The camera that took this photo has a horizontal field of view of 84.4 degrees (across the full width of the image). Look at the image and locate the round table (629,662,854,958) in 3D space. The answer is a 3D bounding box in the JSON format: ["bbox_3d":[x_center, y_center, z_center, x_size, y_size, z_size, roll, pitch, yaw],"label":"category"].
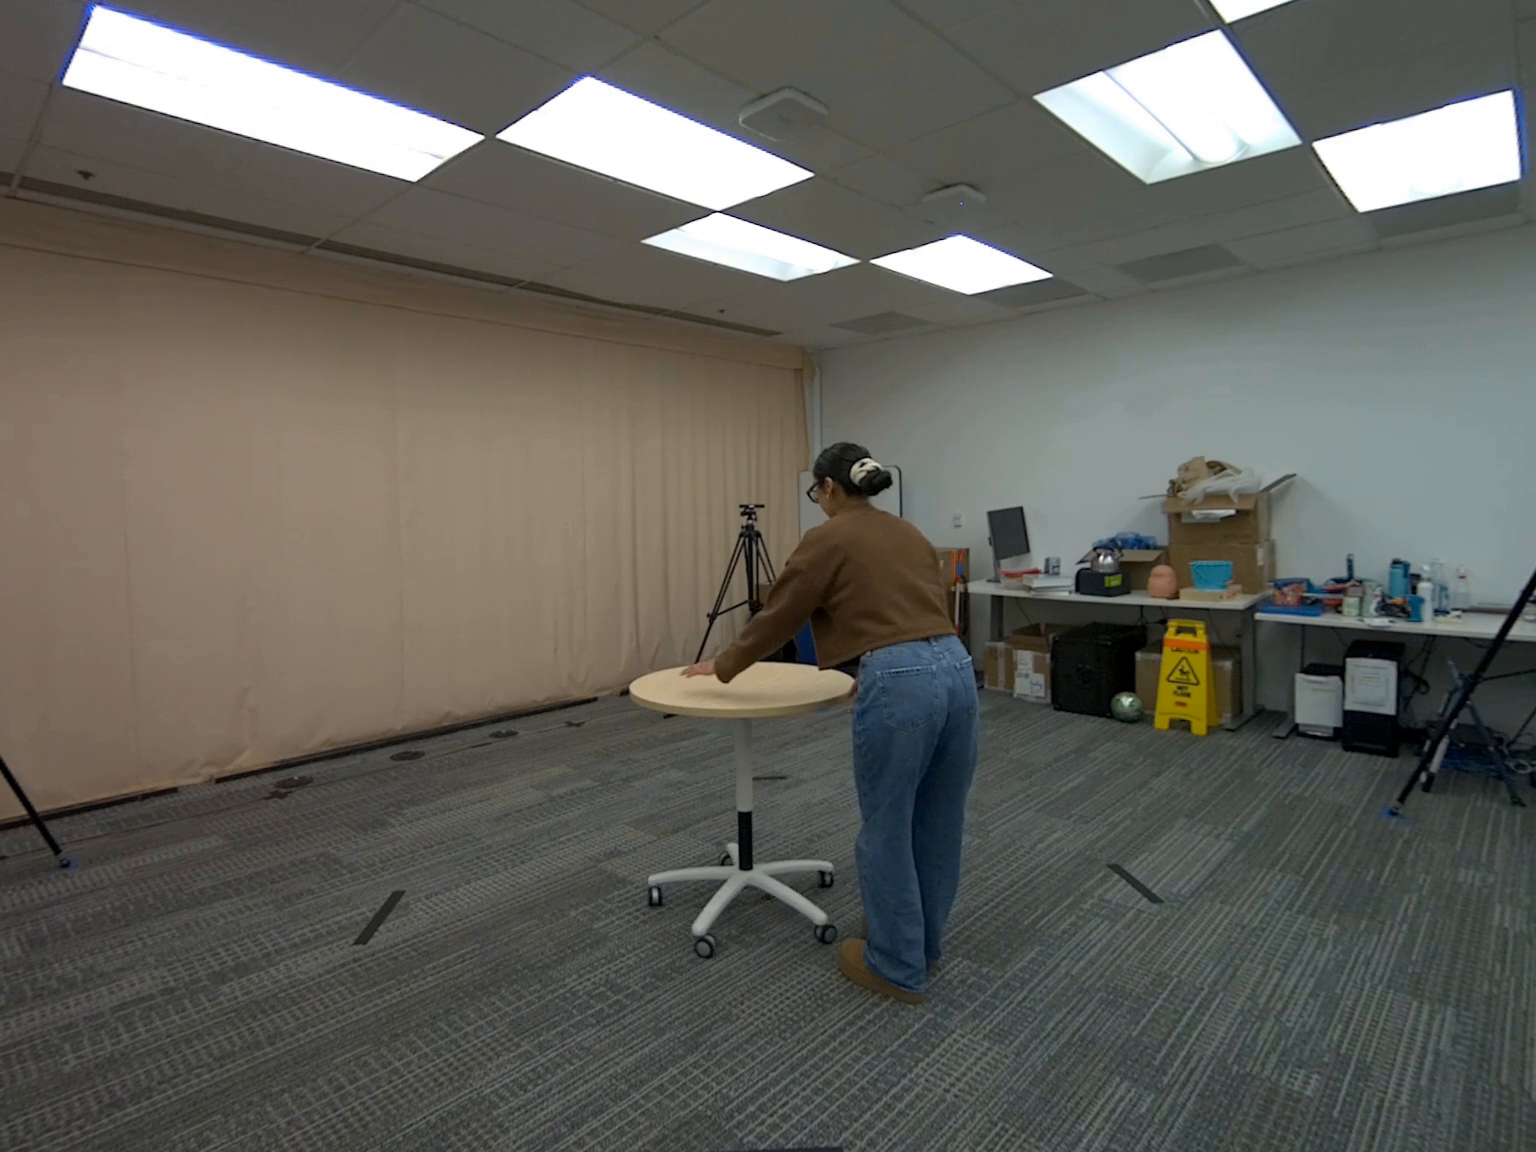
[{"bbox_3d":[-0.073,0.759,2.888,0.763,0.792,0.766,-2,3,-2],"label":"round table"}]
